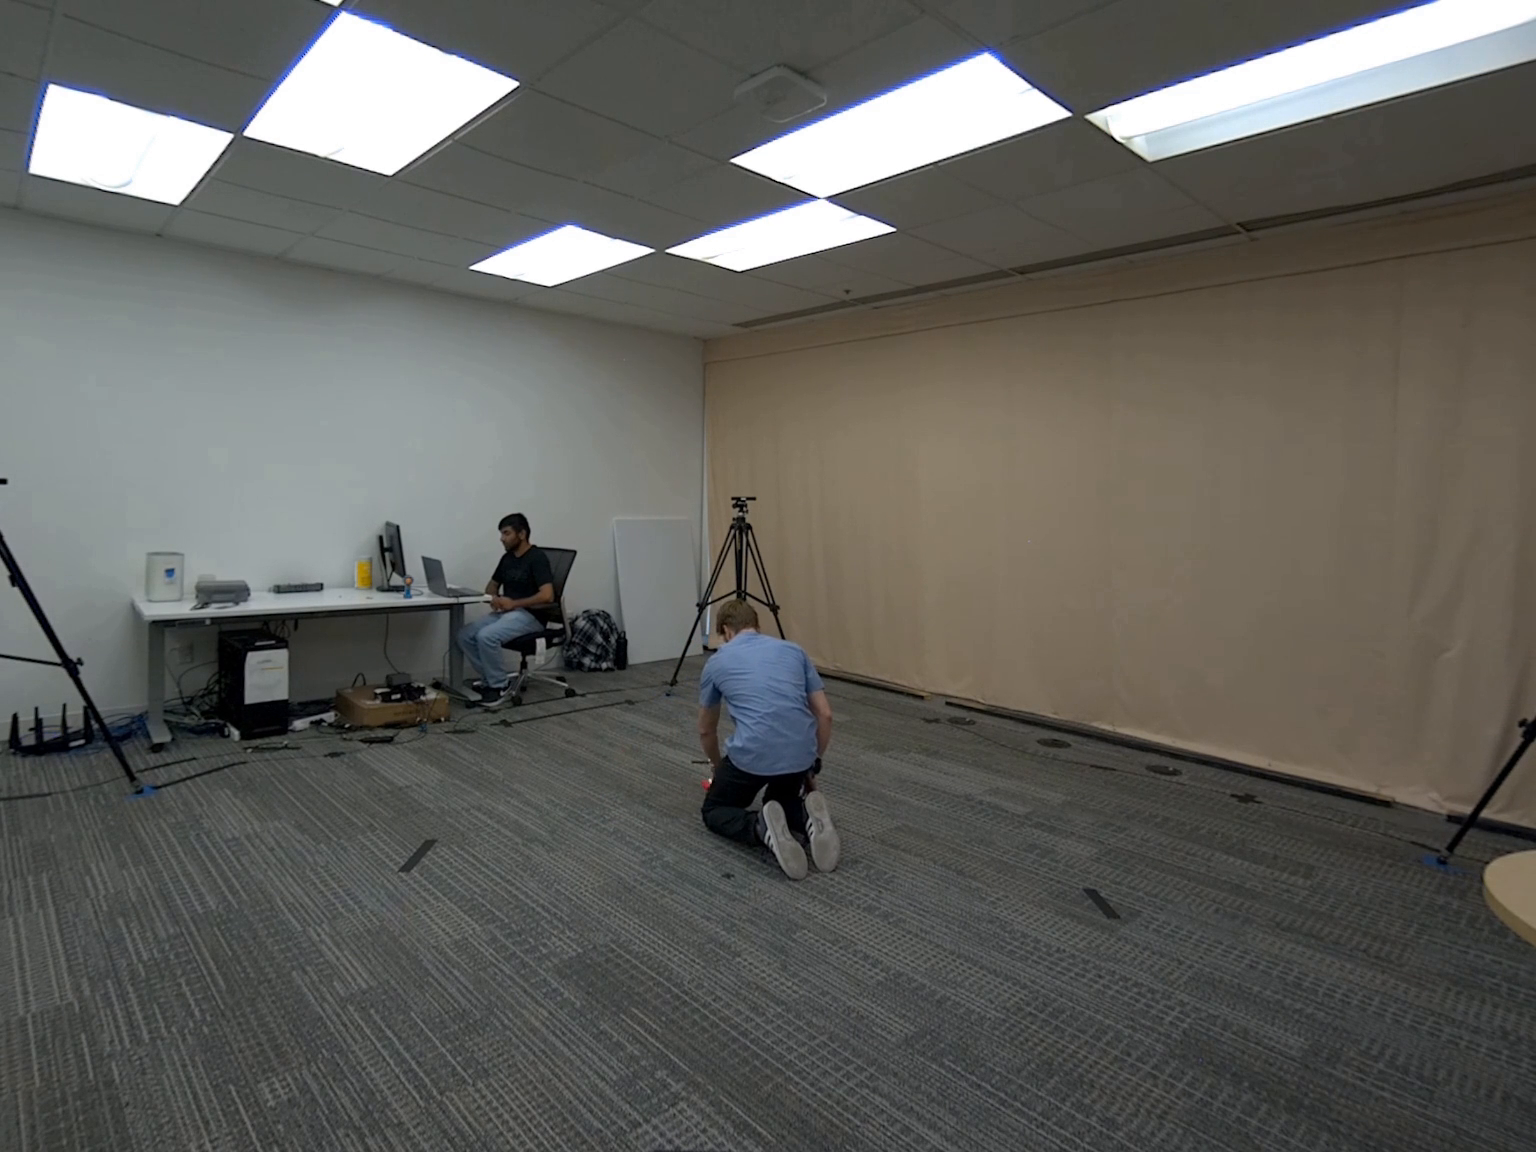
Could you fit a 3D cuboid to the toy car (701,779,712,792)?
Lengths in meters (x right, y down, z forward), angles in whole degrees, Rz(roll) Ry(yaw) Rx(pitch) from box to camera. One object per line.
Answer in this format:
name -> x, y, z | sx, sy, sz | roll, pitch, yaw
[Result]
toy car -> -0.204, 1.001, 3.982 | 0.251, 0.083, 0.132 | 12, 2, -13
